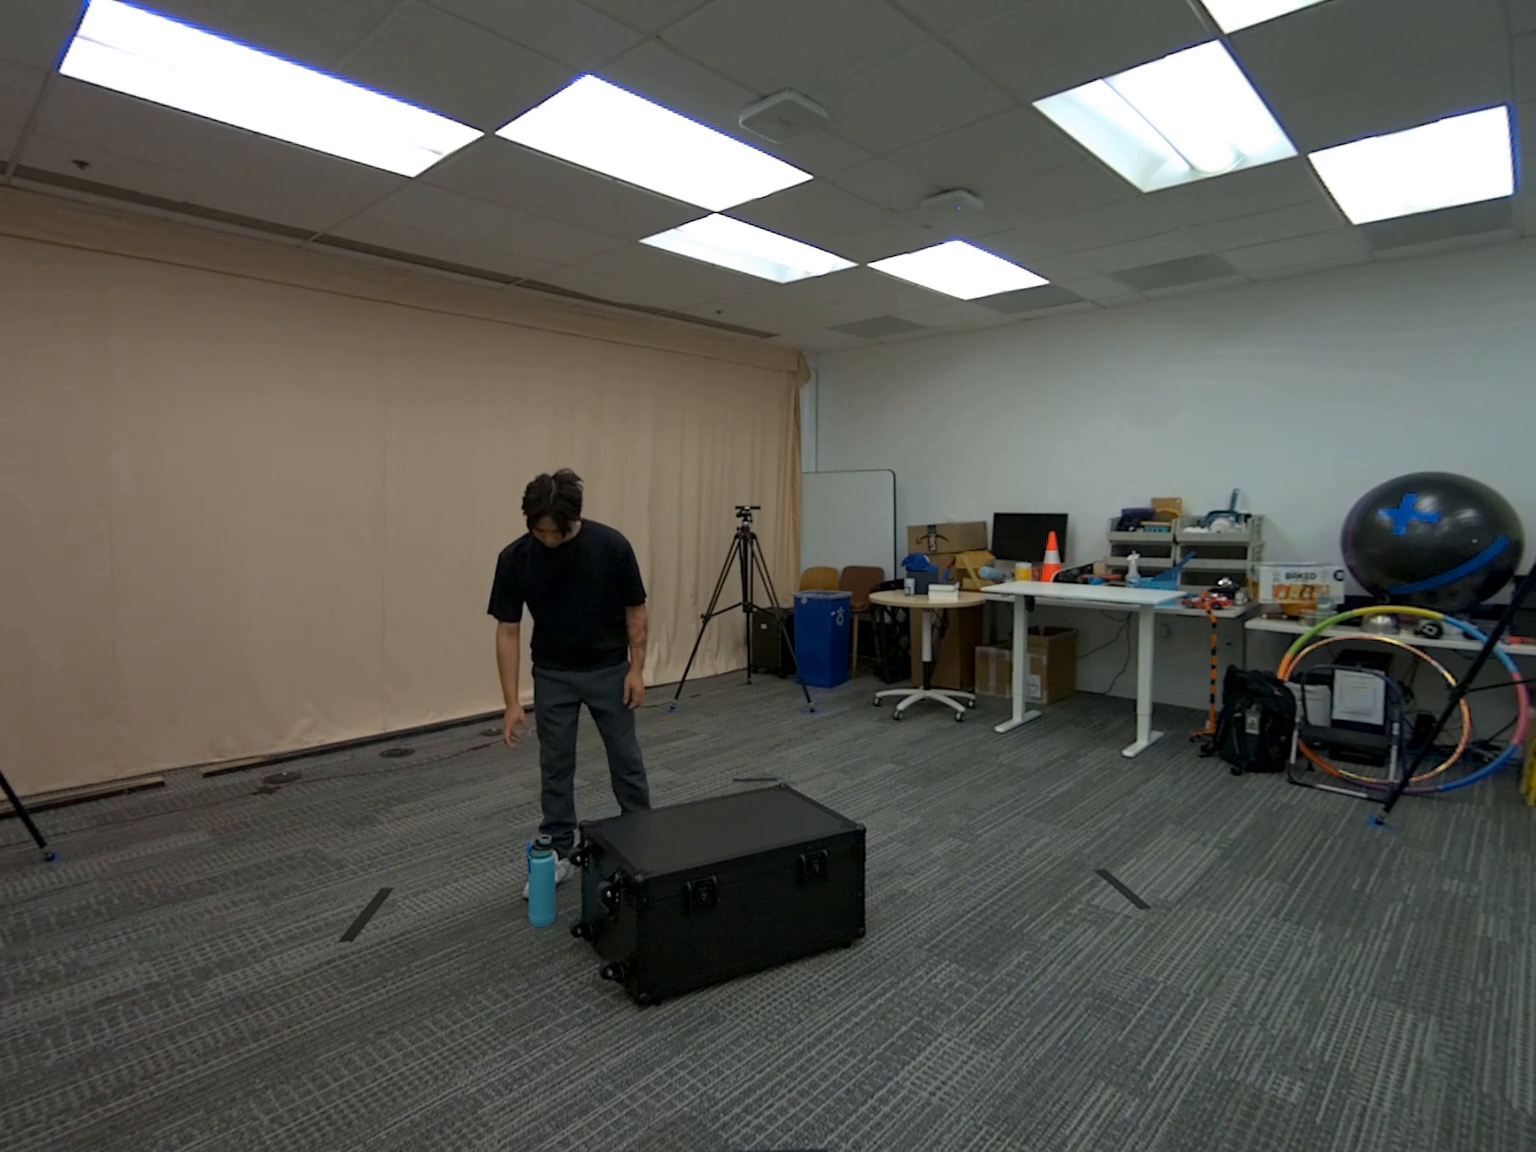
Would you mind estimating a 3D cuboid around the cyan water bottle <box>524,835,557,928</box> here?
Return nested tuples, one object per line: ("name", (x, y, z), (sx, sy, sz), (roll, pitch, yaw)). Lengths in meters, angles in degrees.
("cyan water bottle", (-0.761, 1.019, 2.834), (0.092, 0.283, 0.092), (-1, 1, -2))
